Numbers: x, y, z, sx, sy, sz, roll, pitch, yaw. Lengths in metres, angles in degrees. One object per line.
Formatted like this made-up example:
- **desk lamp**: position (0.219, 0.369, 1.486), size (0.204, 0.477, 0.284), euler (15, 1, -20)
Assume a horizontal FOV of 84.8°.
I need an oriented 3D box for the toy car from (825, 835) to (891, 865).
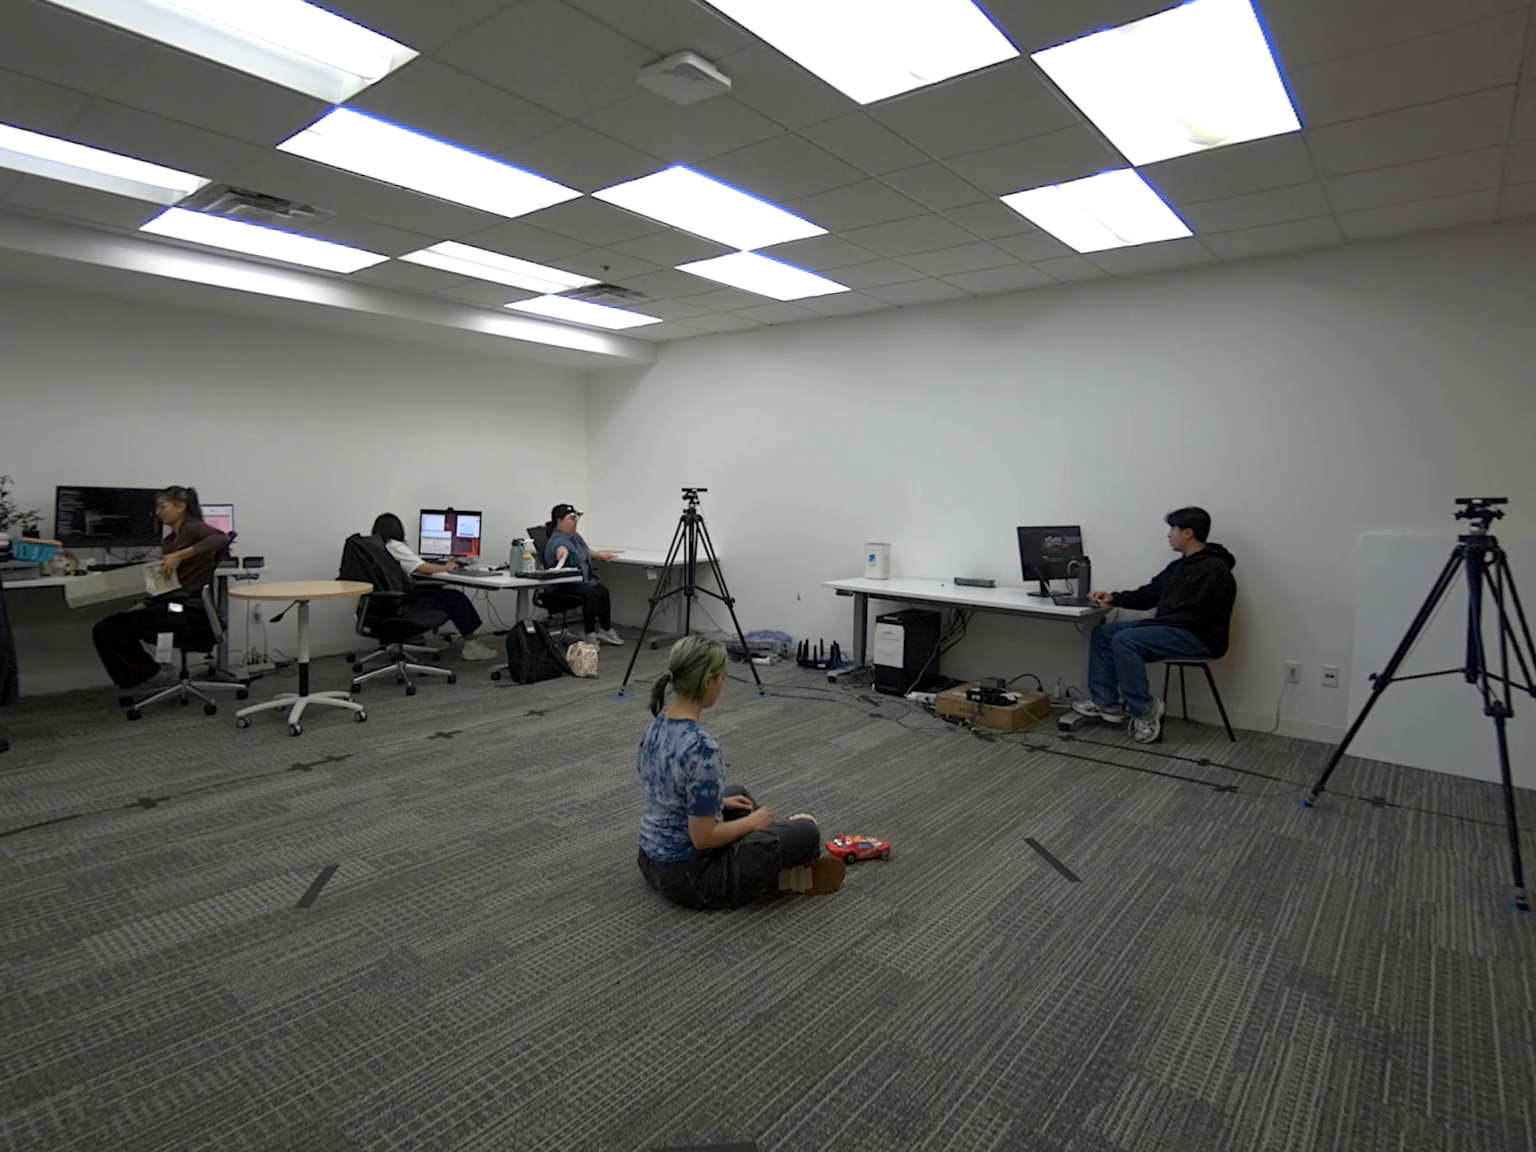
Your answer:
- **toy car**: position (0.328, 1.037, 3.235), size (0.249, 0.083, 0.133), euler (11, 2, -19)
